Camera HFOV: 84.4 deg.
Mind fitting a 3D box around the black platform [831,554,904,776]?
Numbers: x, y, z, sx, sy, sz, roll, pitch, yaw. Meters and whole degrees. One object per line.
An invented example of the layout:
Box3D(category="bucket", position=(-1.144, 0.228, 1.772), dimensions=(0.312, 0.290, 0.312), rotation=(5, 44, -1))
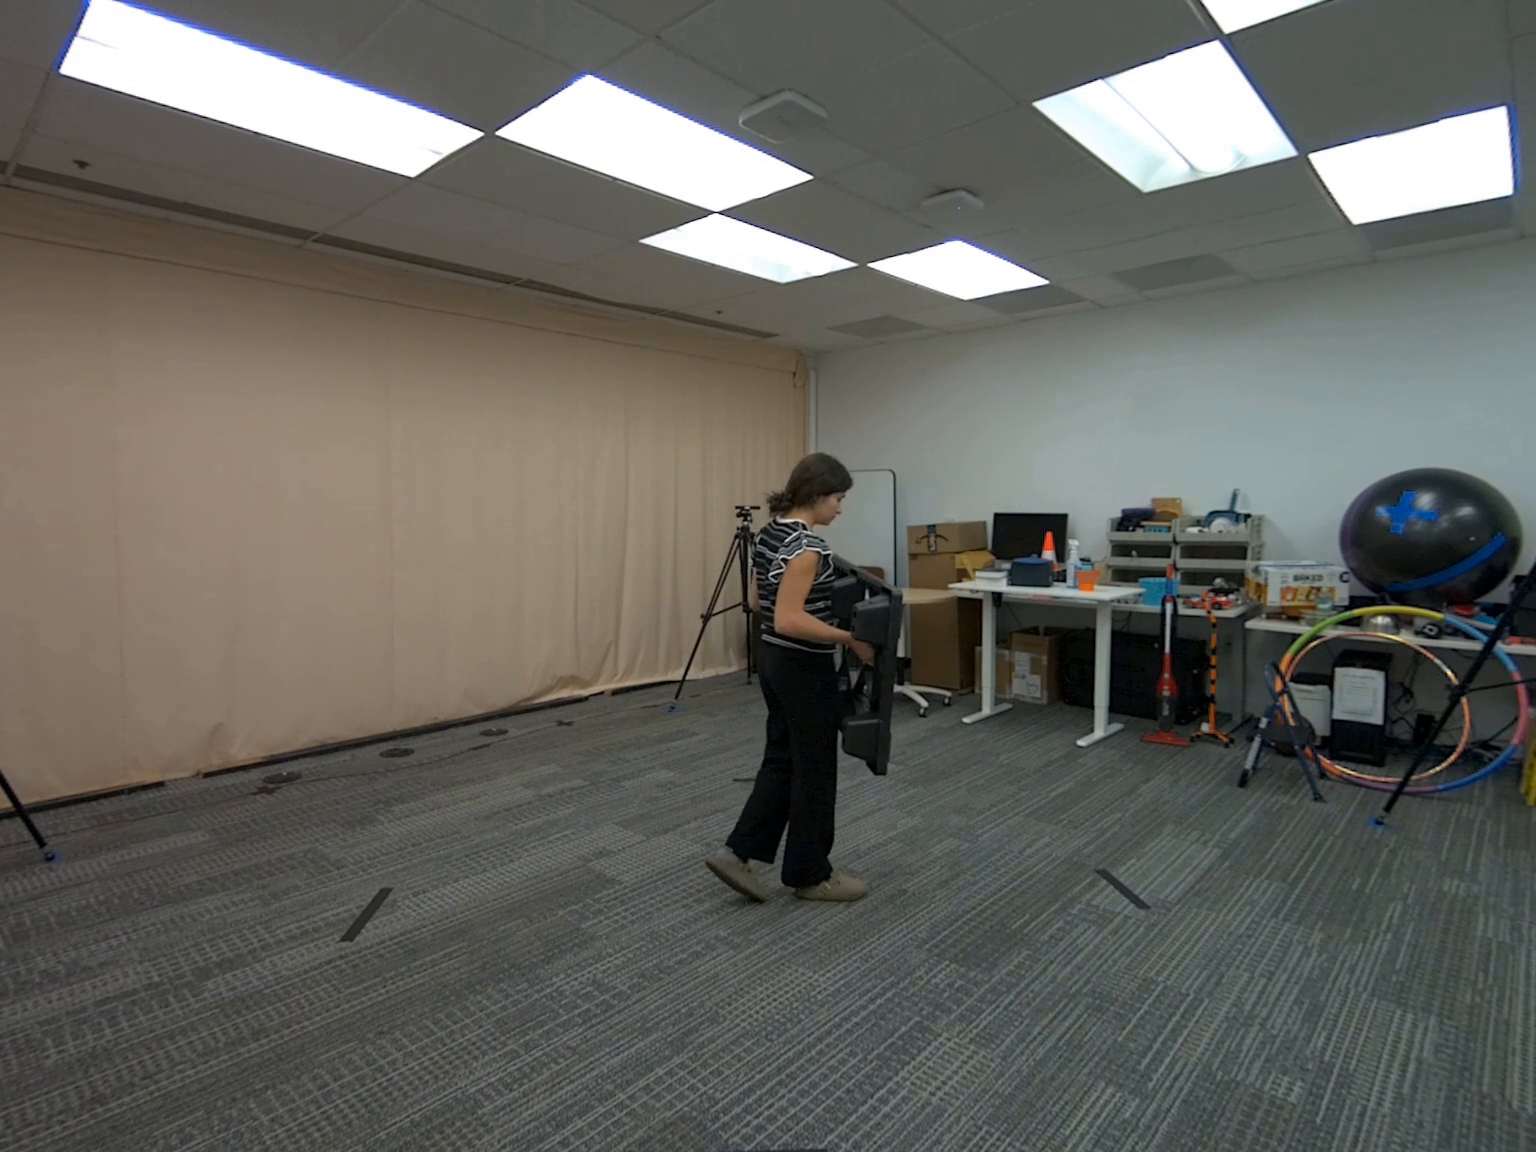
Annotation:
Box3D(category="black platform", position=(0.261, 0.267, 2.989), dimensions=(0.141, 0.602, 0.818), rotation=(3, 8, -12))
